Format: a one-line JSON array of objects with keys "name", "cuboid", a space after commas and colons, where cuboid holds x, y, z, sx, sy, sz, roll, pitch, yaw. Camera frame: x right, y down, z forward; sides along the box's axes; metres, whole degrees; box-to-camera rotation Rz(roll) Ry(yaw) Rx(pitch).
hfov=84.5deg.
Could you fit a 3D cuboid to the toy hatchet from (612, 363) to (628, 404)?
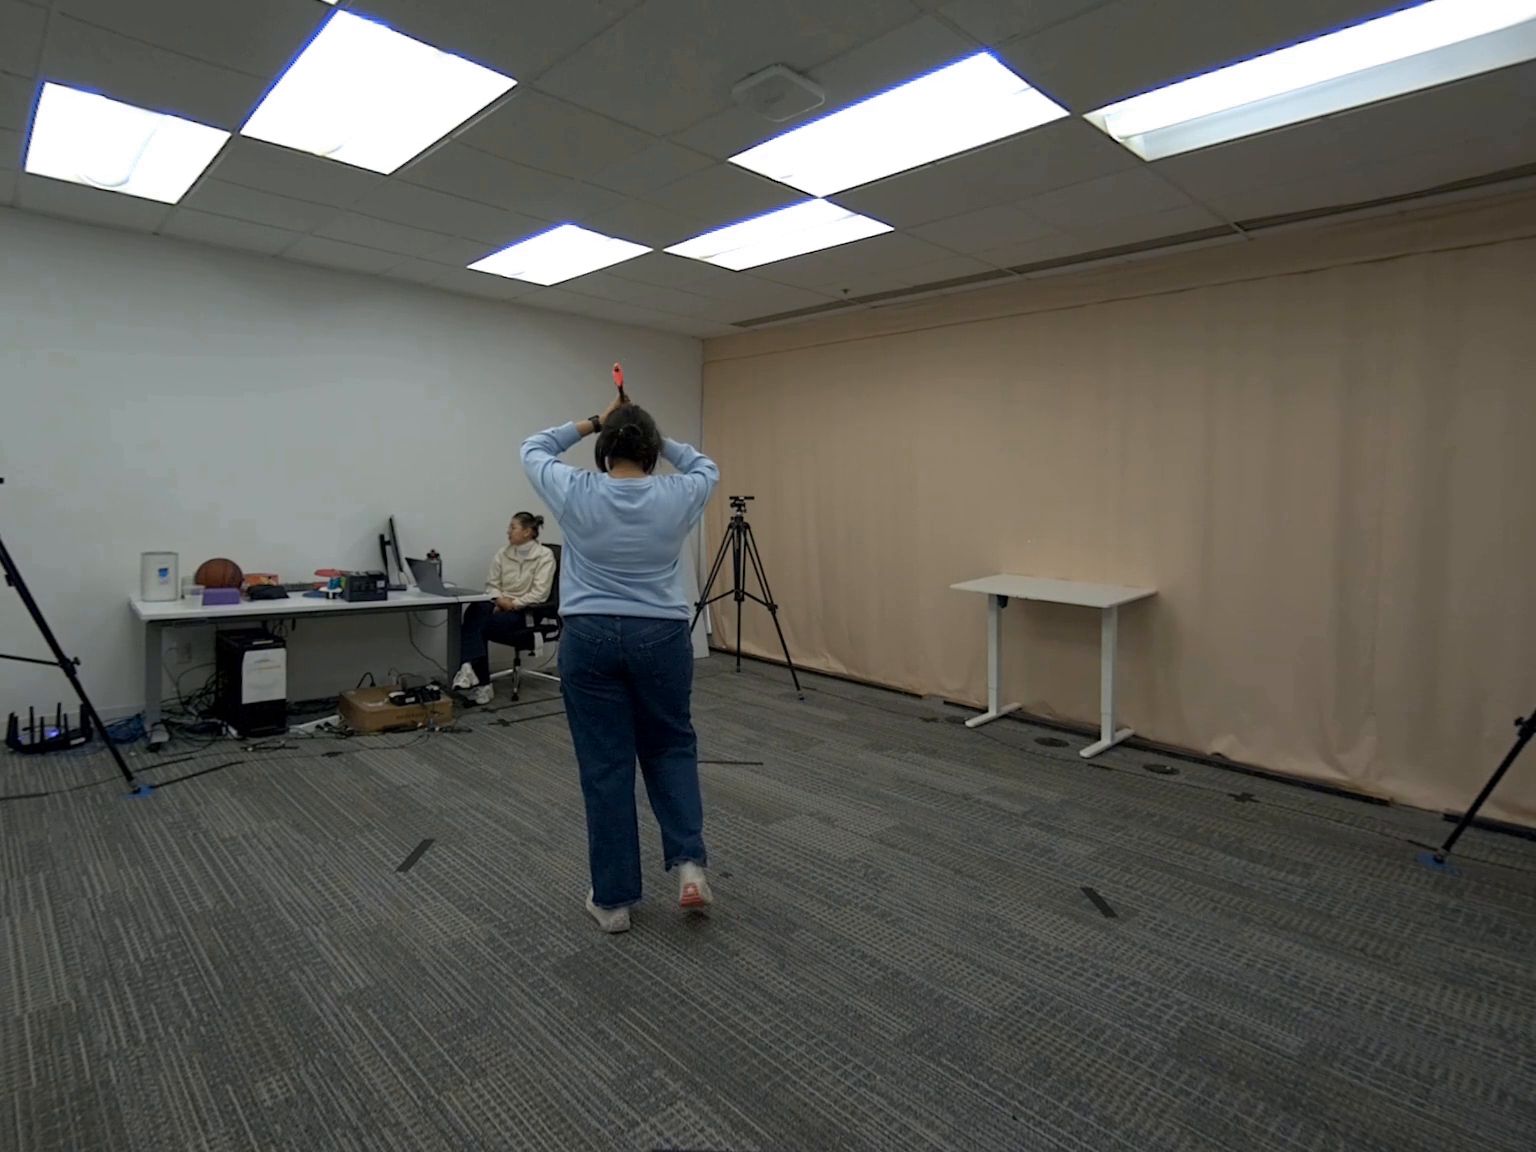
[{"name": "toy hatchet", "cuboid": [-0.497, -0.618, 2.858, 0.029, 0.134, 0.265, -10, -29, -5]}]
